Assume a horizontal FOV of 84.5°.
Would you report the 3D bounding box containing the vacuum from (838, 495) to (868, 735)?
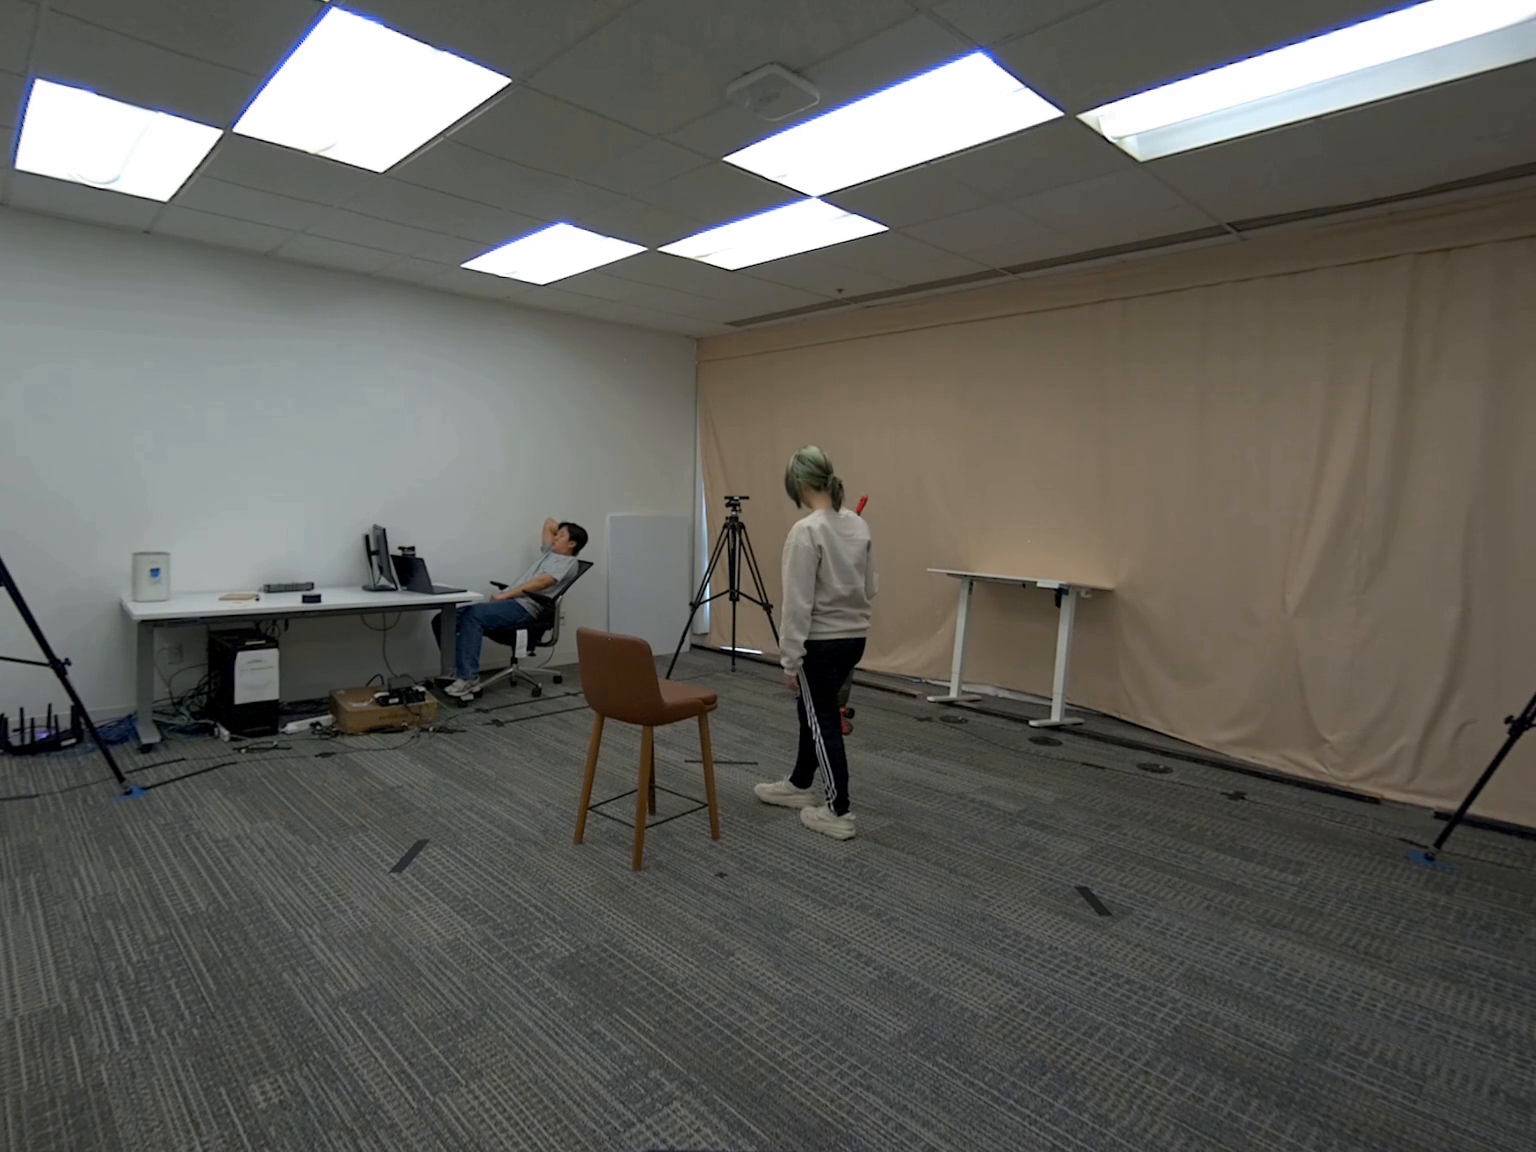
[{"bbox_3d":[0.381,0.148,3.952,0.140,1.050,0.259,8,-2,-44],"label":"vacuum"}]
